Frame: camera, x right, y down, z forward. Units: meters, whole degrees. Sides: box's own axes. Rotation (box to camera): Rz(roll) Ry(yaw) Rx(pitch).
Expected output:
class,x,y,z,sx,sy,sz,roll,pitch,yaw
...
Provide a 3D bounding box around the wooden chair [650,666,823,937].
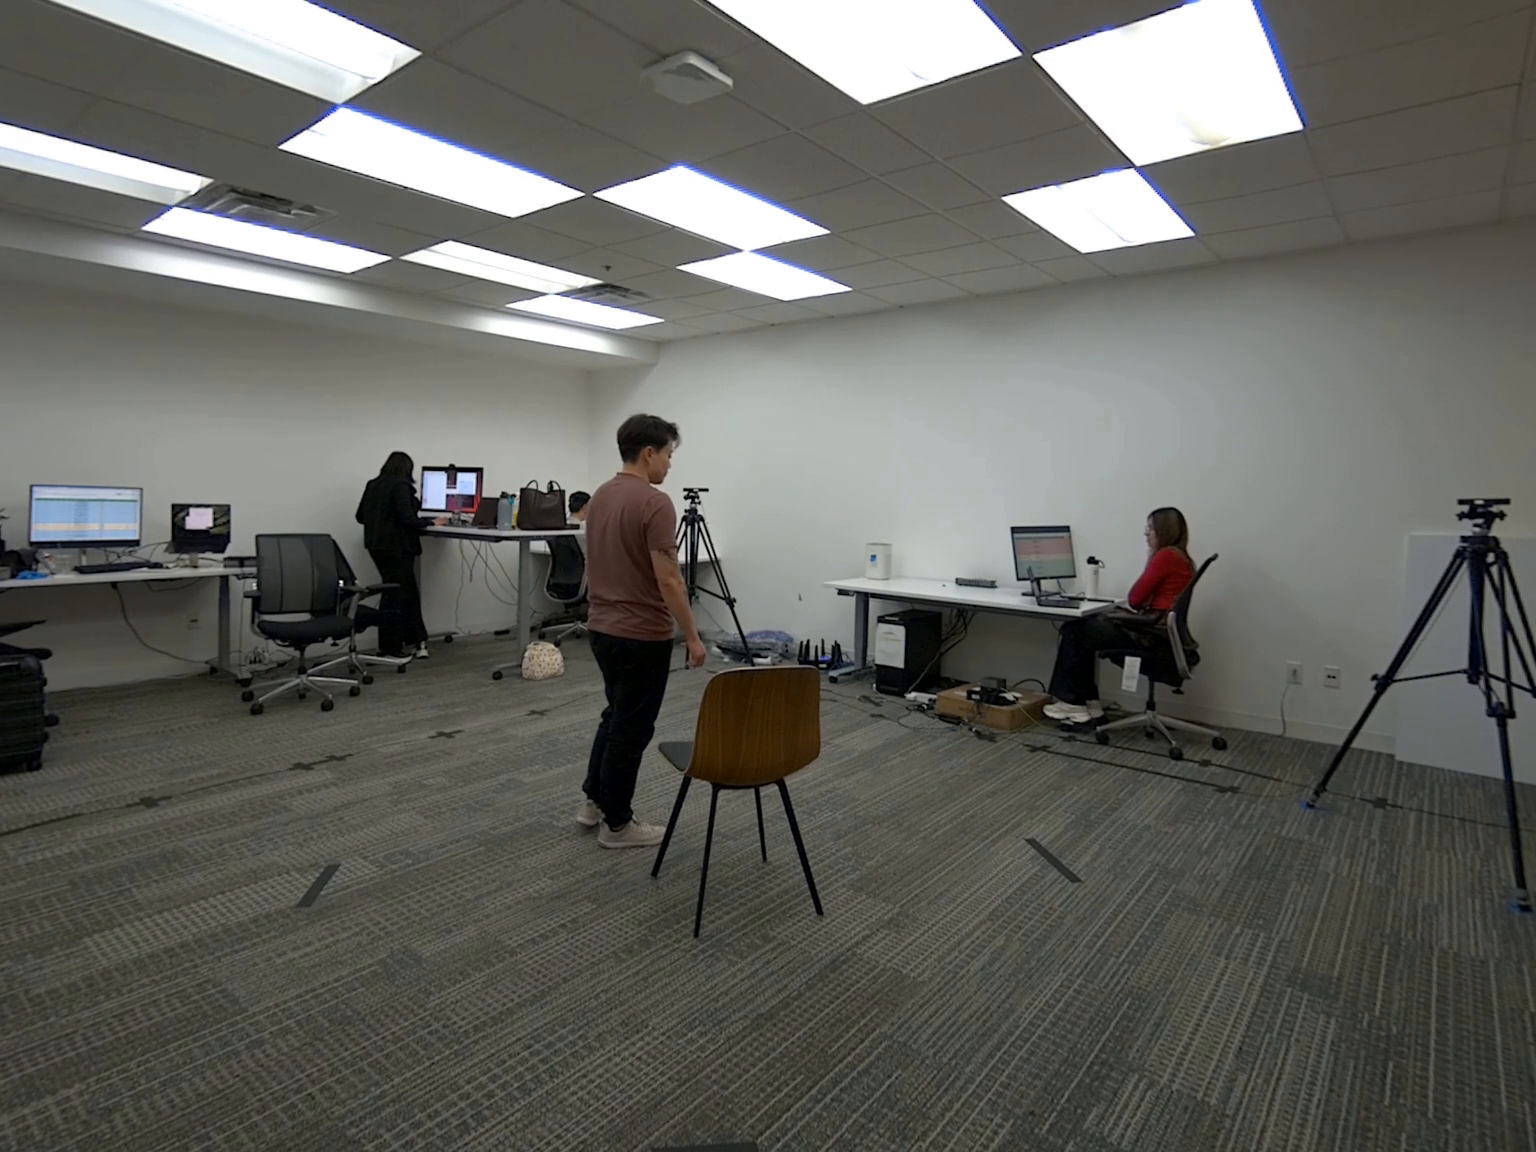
class,x,y,z,sx,sy,sz,roll,pitch,yaw
wooden chair,-0.116,0.667,2.889,0.467,0.872,0.538,0,8,-23
